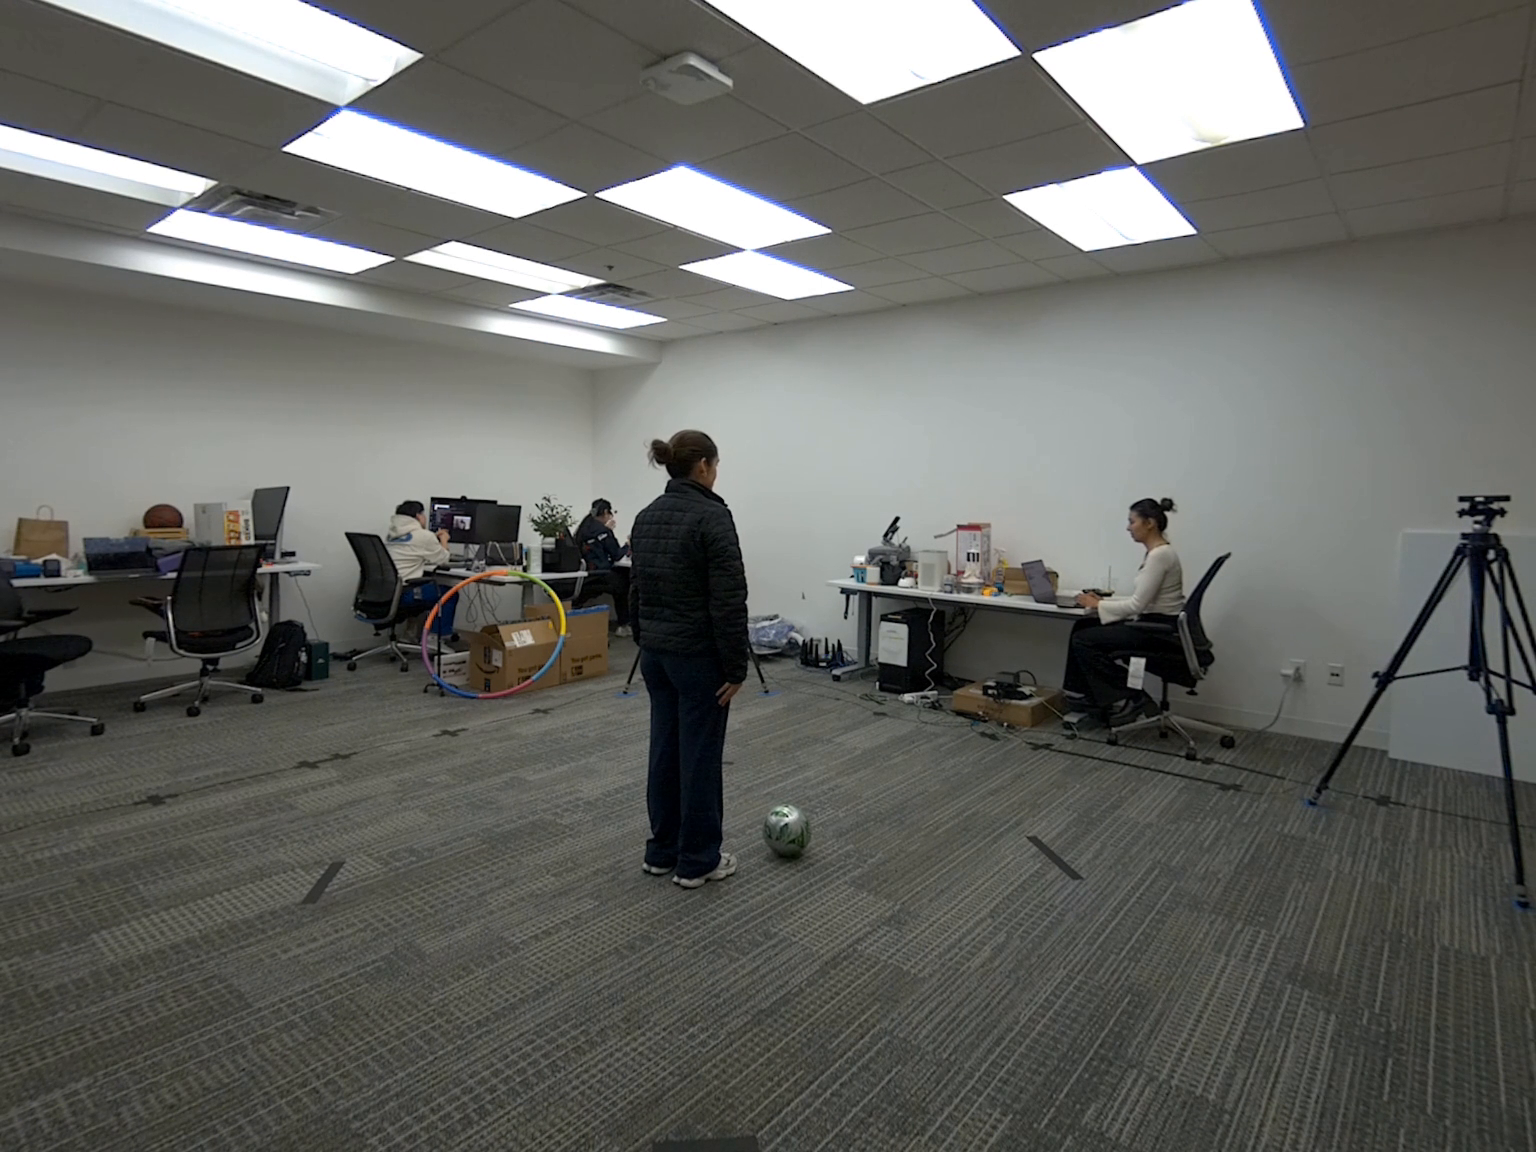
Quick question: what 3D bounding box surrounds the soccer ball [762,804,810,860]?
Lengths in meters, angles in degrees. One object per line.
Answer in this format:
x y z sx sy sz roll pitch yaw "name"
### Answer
0.063 0.965 3.236 0.187 0.187 0.188 1 4 -2 "soccer ball"
